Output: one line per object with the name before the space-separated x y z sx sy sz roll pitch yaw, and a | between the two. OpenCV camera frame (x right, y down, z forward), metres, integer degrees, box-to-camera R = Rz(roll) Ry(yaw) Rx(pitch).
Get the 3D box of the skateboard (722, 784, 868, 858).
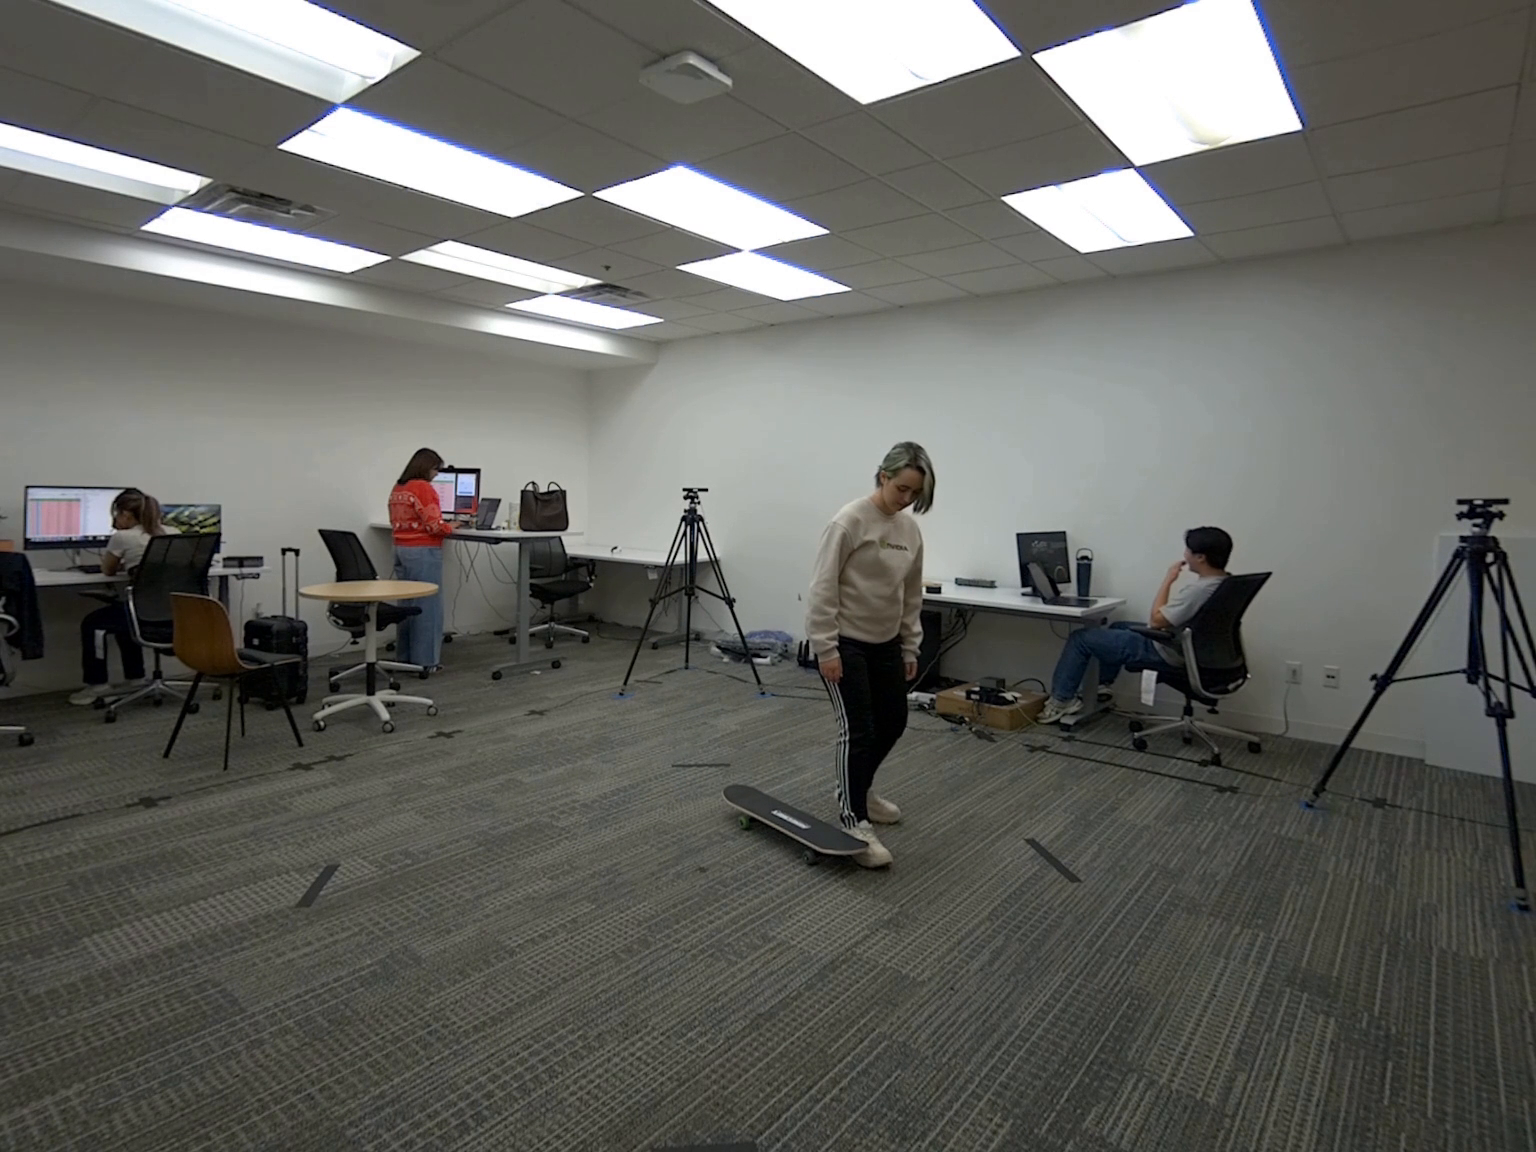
skateboard | 0.082 0.987 3.373 0.188 0.110 0.812 -2 7 -38
